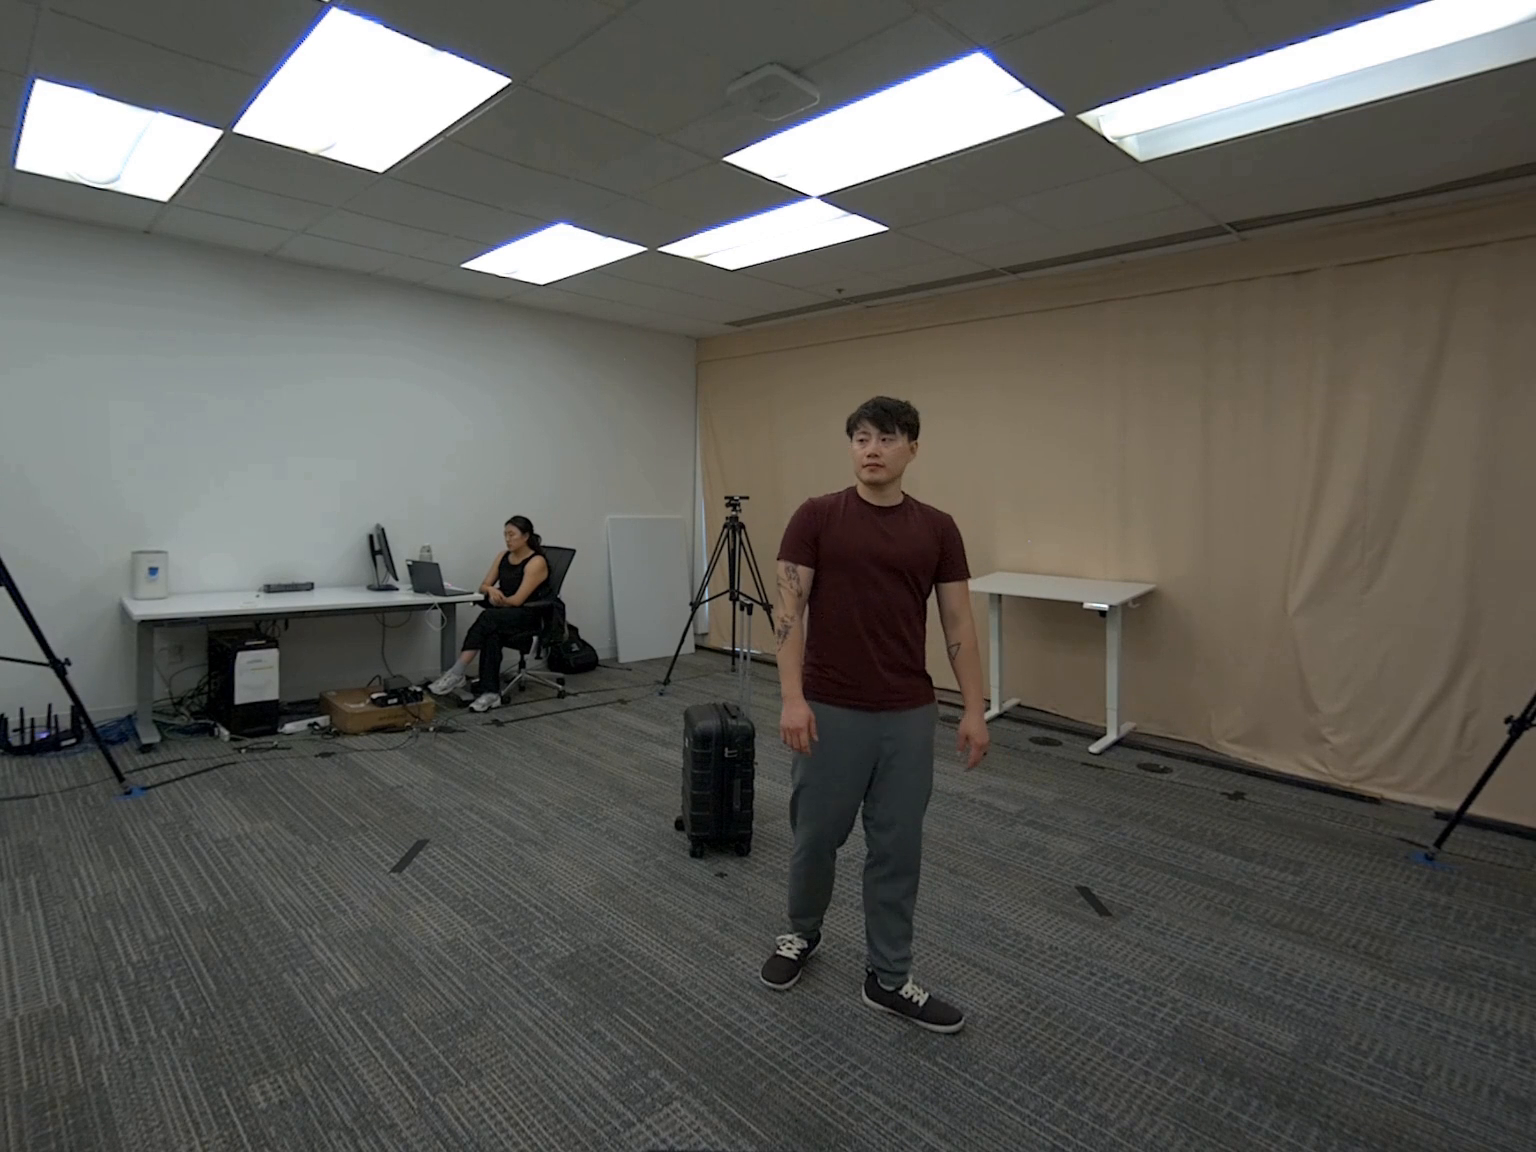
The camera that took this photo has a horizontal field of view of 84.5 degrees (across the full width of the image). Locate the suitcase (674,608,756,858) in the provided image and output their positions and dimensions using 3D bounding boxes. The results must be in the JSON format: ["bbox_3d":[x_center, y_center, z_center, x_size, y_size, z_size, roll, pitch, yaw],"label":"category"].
[{"bbox_3d":[-0.208,0.597,3.373,0.255,0.976,0.388,-1,3,-11],"label":"suitcase"}]
